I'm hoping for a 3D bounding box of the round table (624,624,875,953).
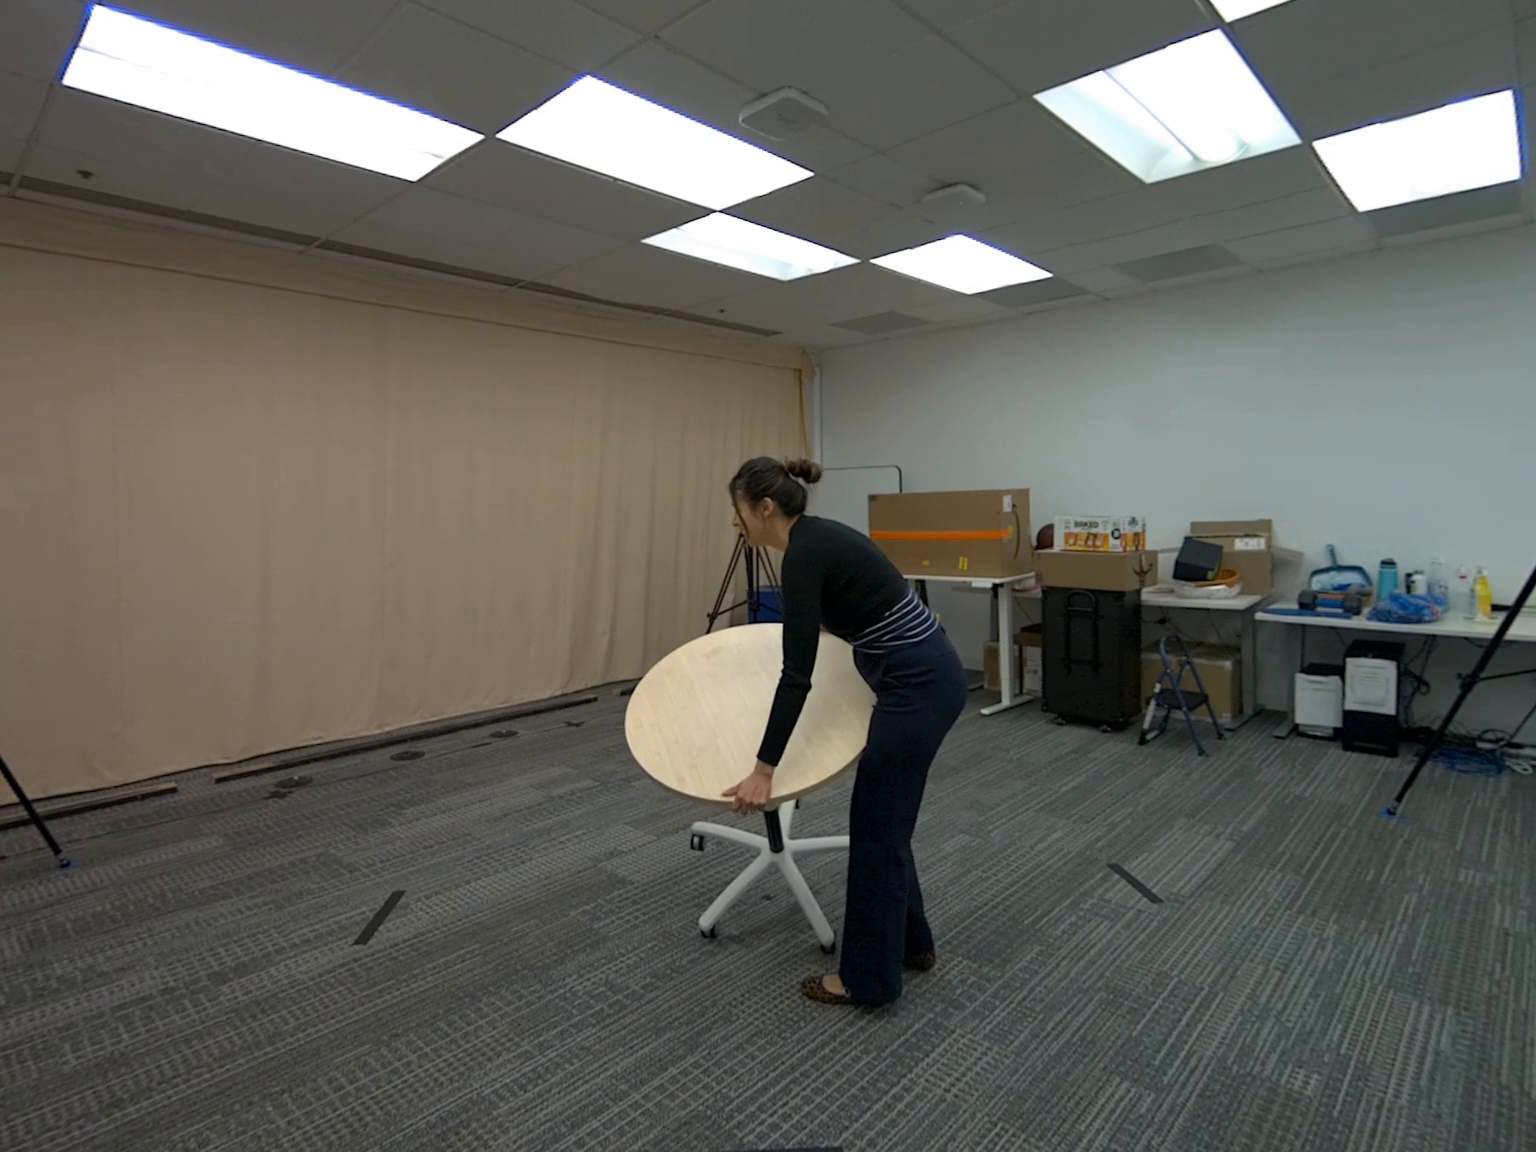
[{"bbox_3d":[0.008,0.697,2.703,0.767,0.778,0.777,-7,31,2],"label":"round table"}]
